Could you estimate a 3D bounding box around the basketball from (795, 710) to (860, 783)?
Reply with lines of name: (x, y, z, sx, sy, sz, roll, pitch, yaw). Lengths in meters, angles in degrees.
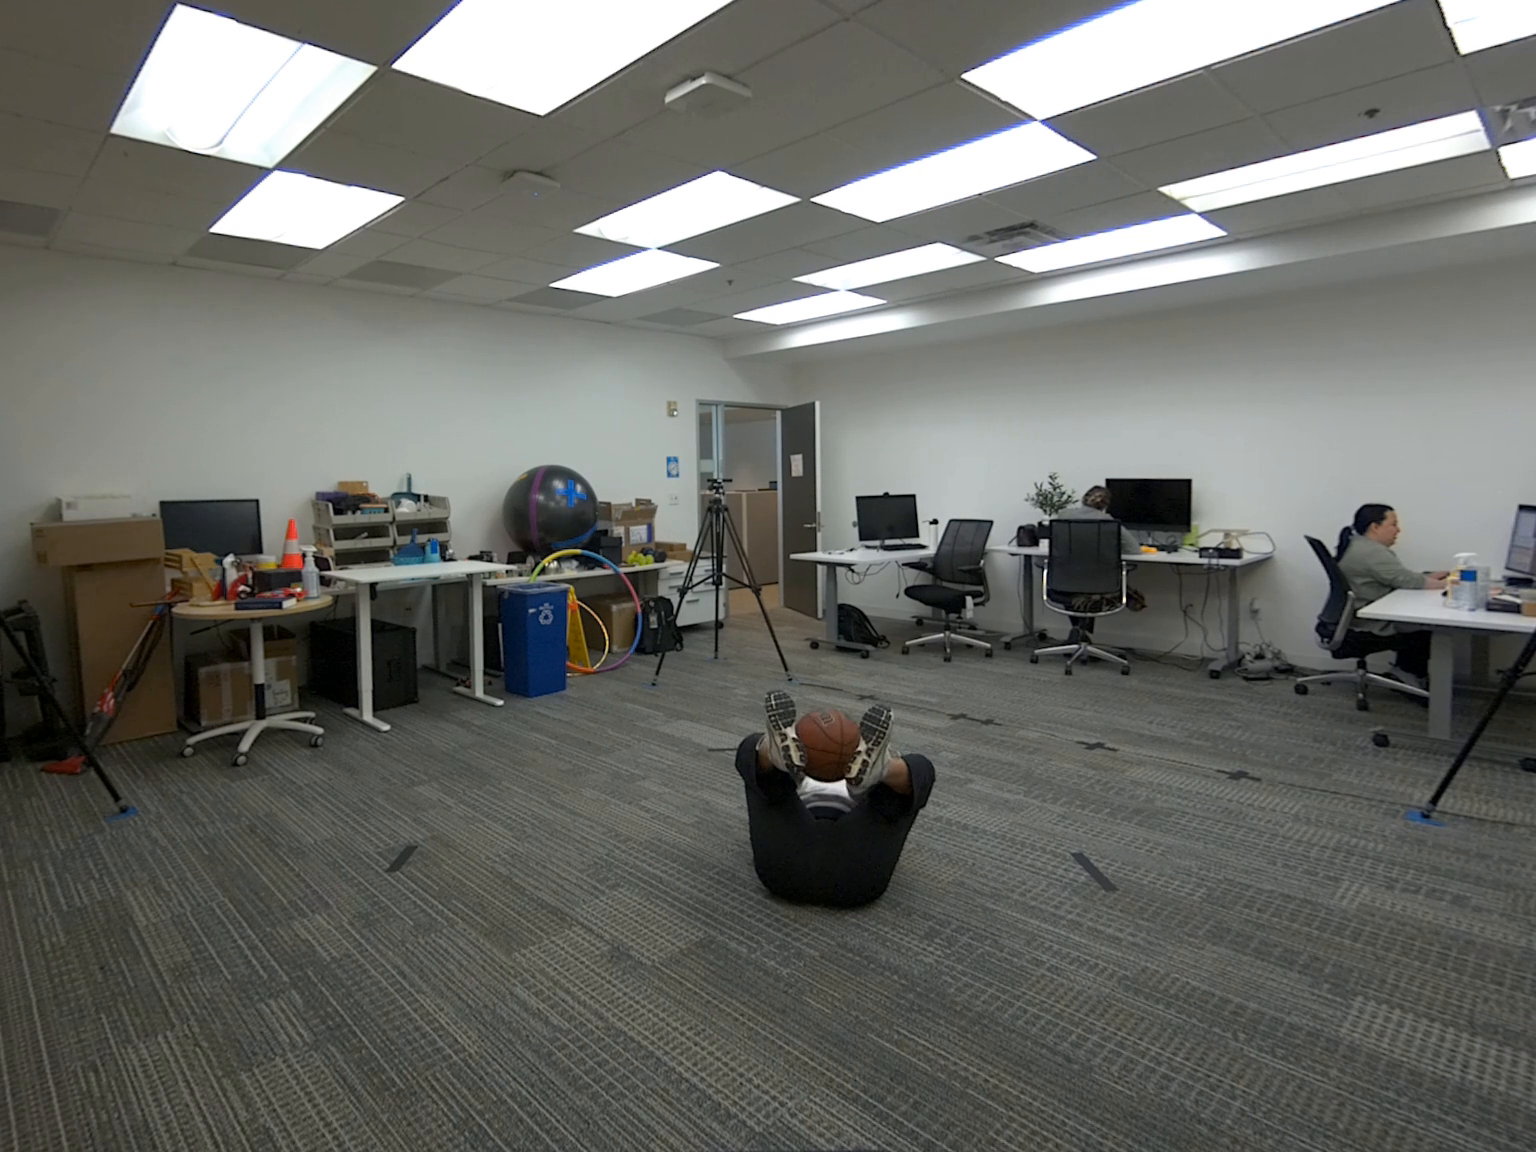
basketball: (0.200, 0.540, 2.821, 0.236, 0.235, 0.236, -4, 2, -2)
